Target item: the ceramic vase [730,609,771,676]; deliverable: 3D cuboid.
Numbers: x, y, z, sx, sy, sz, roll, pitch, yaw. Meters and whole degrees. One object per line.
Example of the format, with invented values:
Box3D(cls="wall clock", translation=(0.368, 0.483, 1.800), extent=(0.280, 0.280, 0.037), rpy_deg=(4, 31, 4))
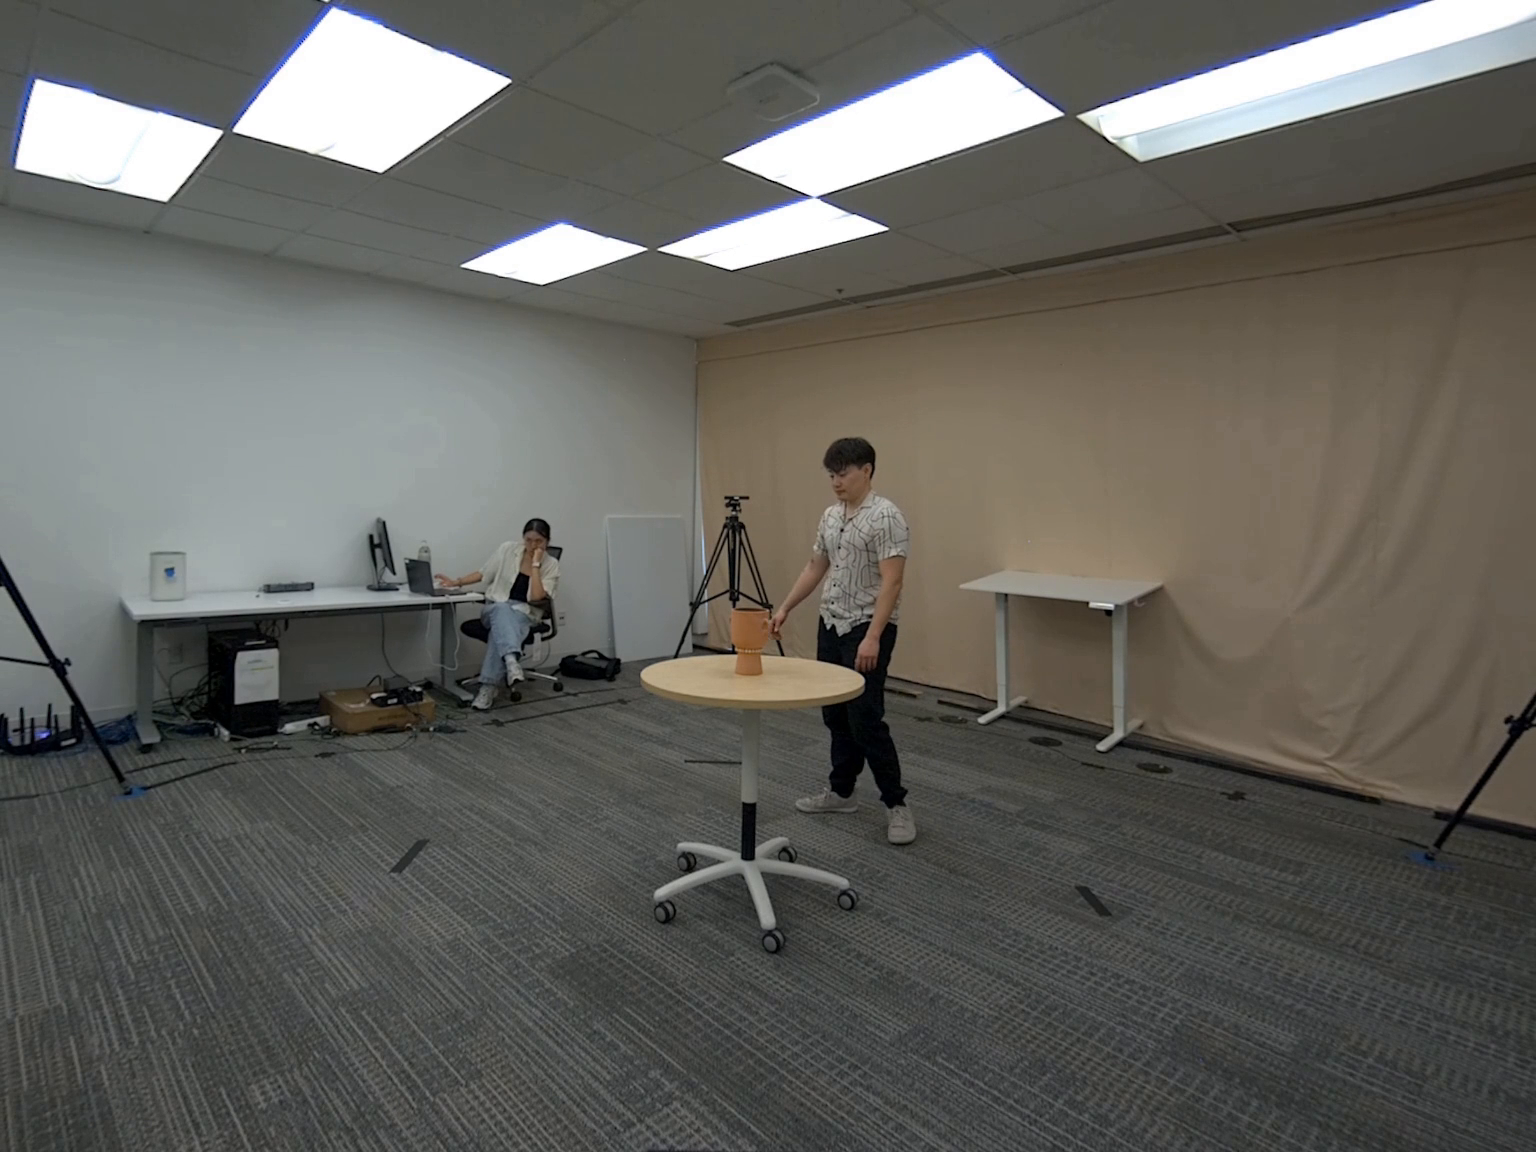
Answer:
Box3D(cls="ceramic vase", translation=(-0.069, 0.230, 2.922), extent=(0.133, 0.219, 0.160), rpy_deg=(2, 4, -10))
